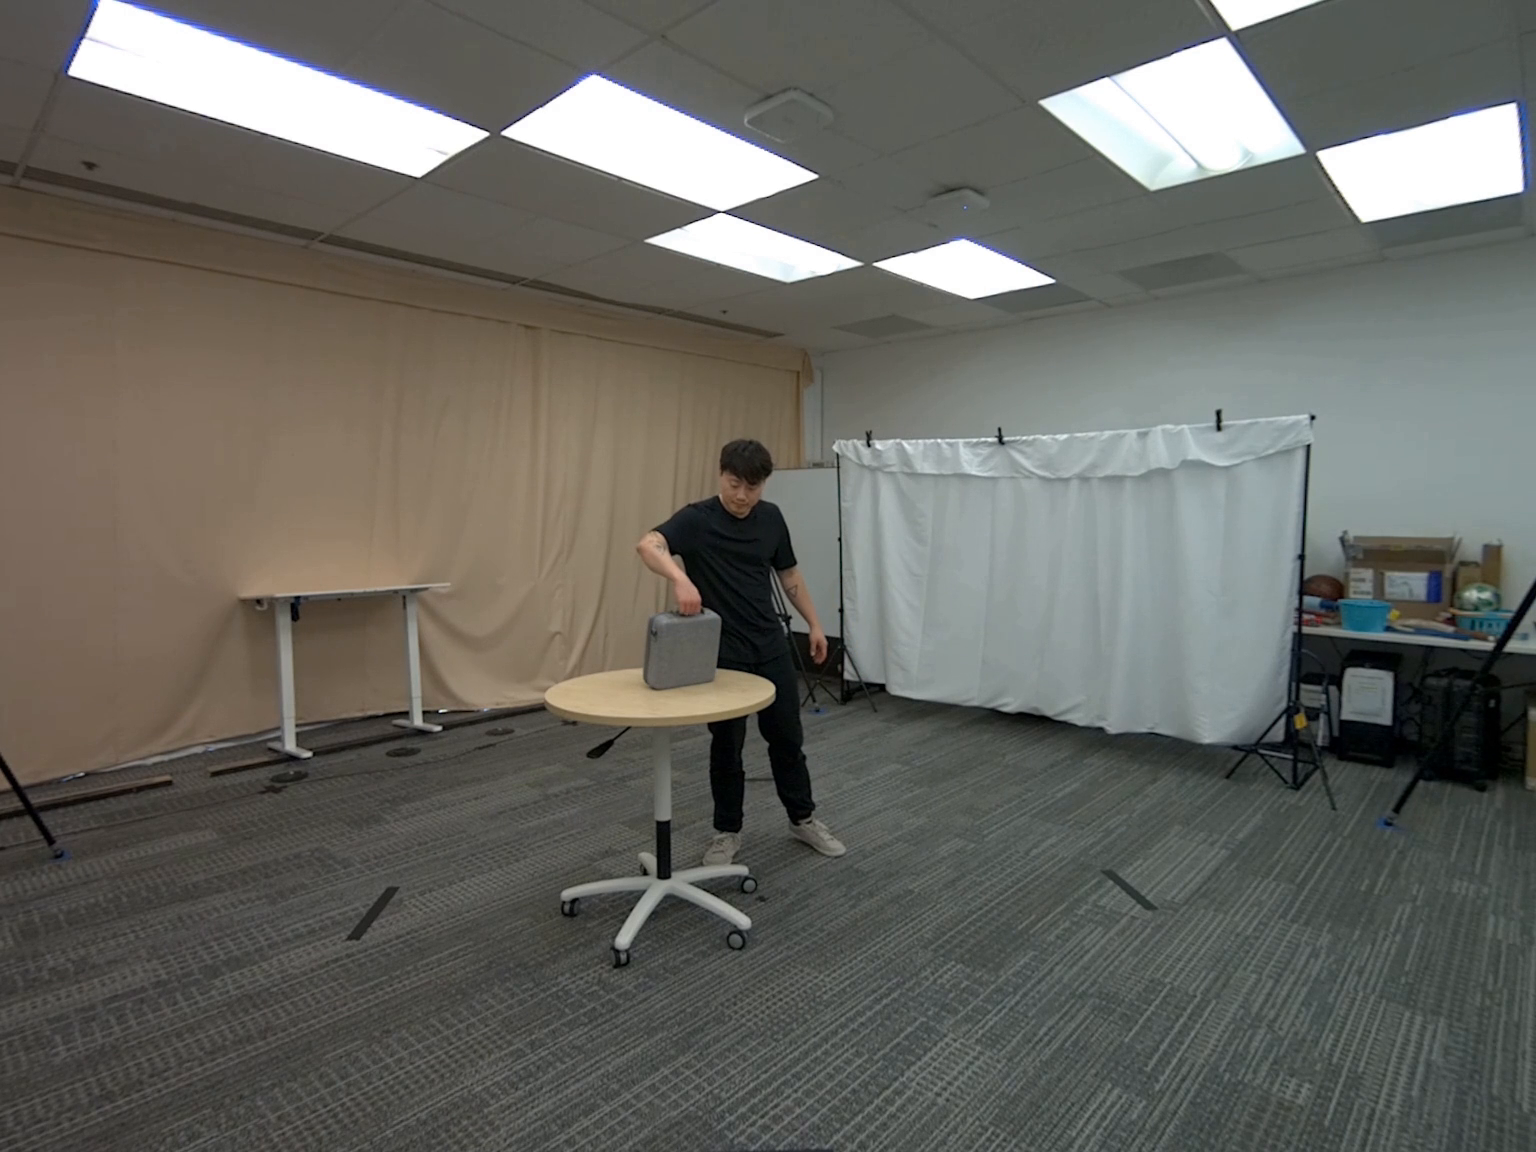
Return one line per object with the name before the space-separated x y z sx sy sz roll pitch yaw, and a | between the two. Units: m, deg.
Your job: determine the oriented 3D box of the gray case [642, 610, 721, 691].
gray case | -0.290 0.241 2.861 0.249 0.259 0.108 -4 17 -35
